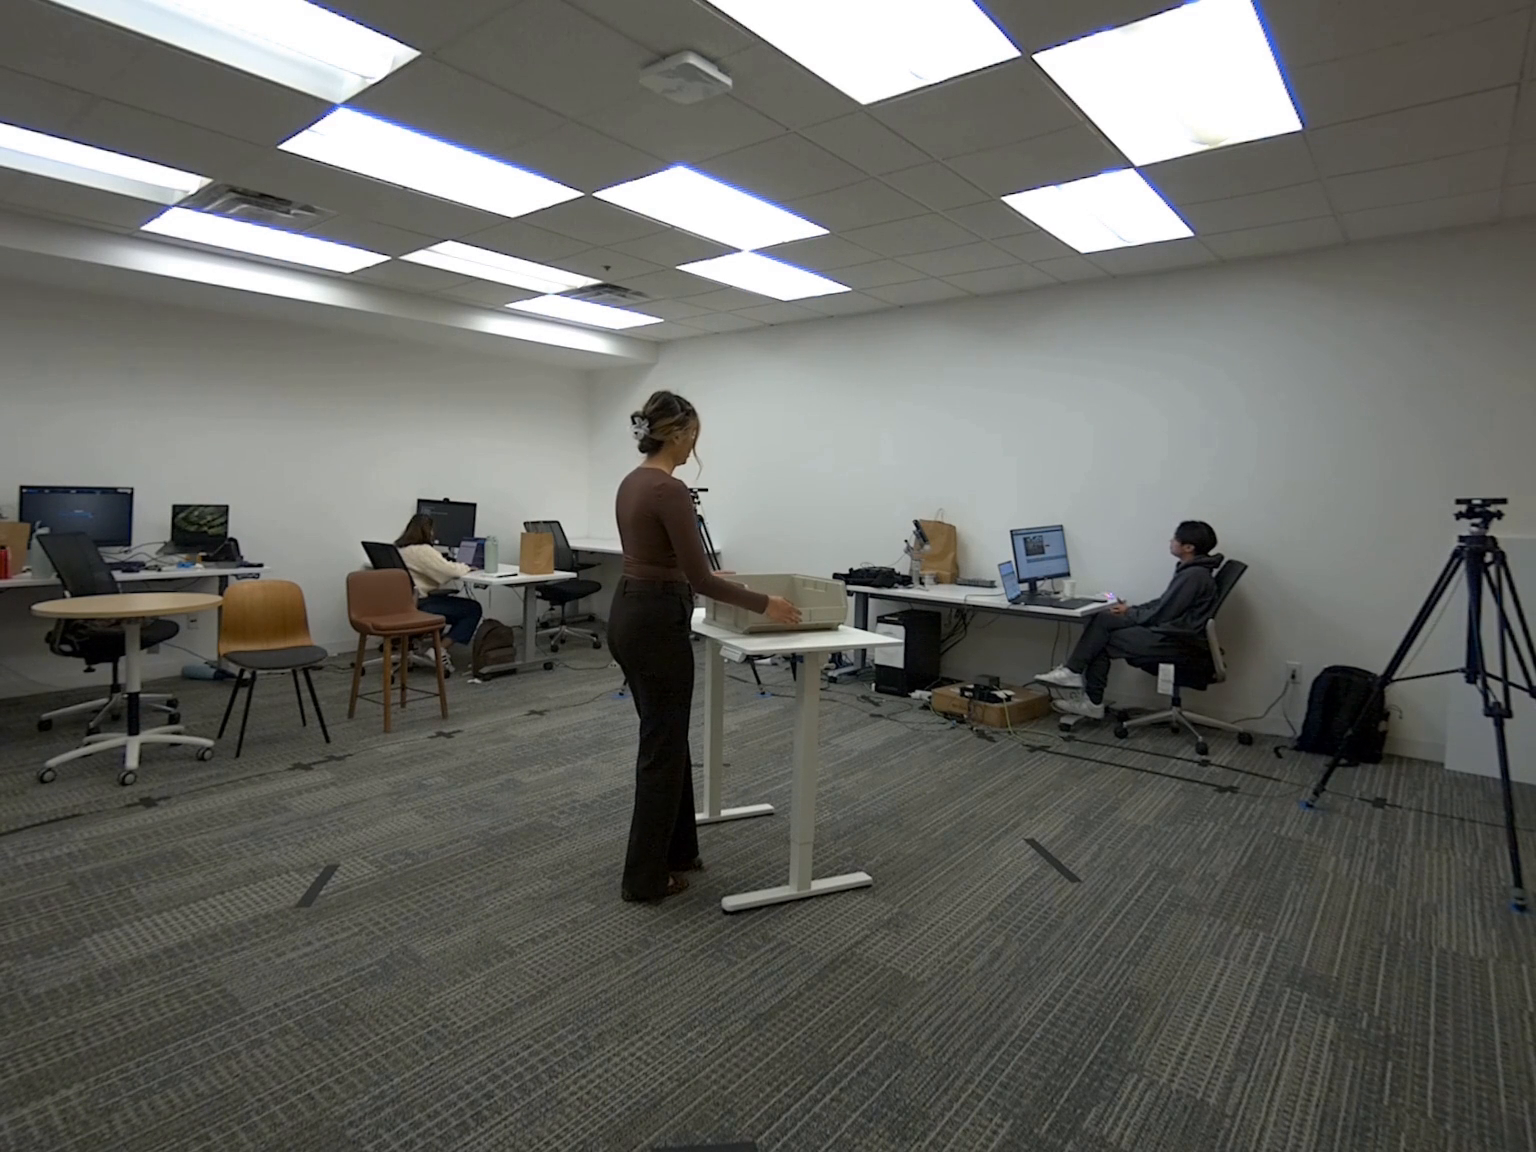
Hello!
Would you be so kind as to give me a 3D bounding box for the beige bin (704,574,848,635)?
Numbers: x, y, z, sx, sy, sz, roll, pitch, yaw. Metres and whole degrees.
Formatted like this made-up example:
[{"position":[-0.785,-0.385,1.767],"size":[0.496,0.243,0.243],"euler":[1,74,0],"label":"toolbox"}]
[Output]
[{"position":[0.012,0.097,3.154],"size":[0.411,0.188,0.388],"euler":[-2,5,-30],"label":"beige bin"}]
